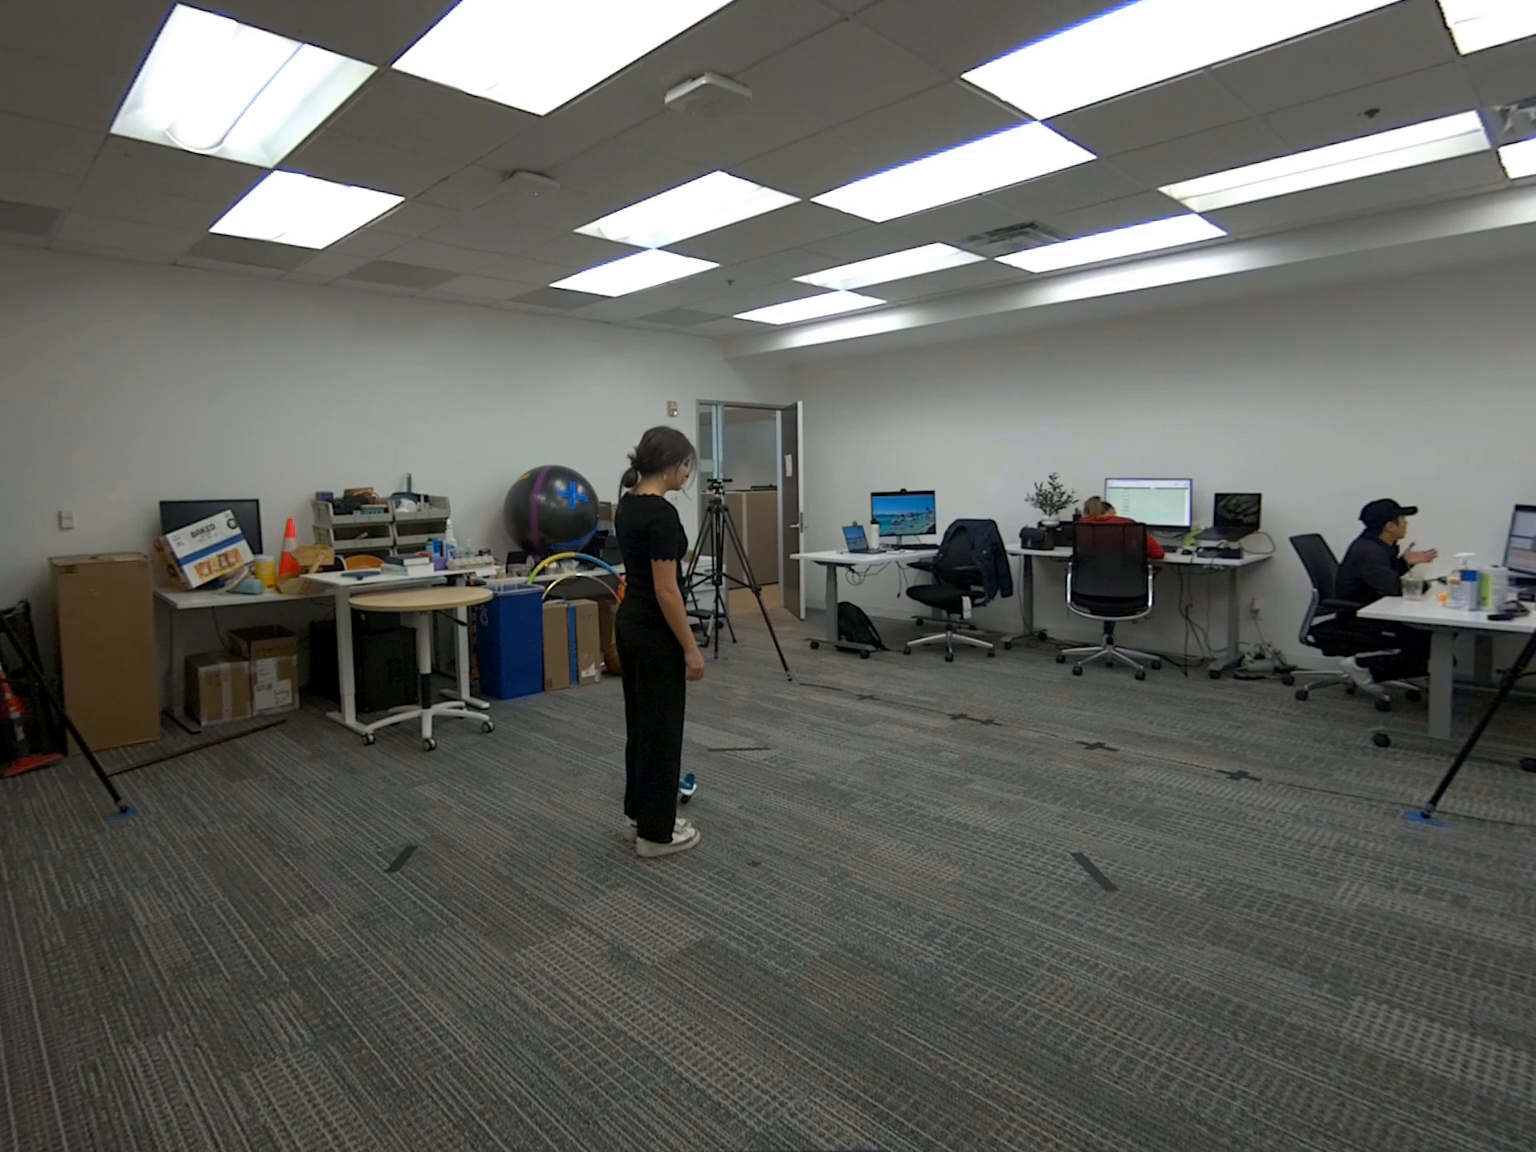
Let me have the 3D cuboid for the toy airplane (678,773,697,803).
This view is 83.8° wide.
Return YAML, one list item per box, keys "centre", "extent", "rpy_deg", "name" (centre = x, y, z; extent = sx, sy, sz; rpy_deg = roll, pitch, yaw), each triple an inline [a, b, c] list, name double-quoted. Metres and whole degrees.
- centre: [-0.443, 0.907, 3.754]
  extent: [0.255, 0.156, 0.256]
  rpy_deg: [-3, 6, -16]
  name: "toy airplane"
